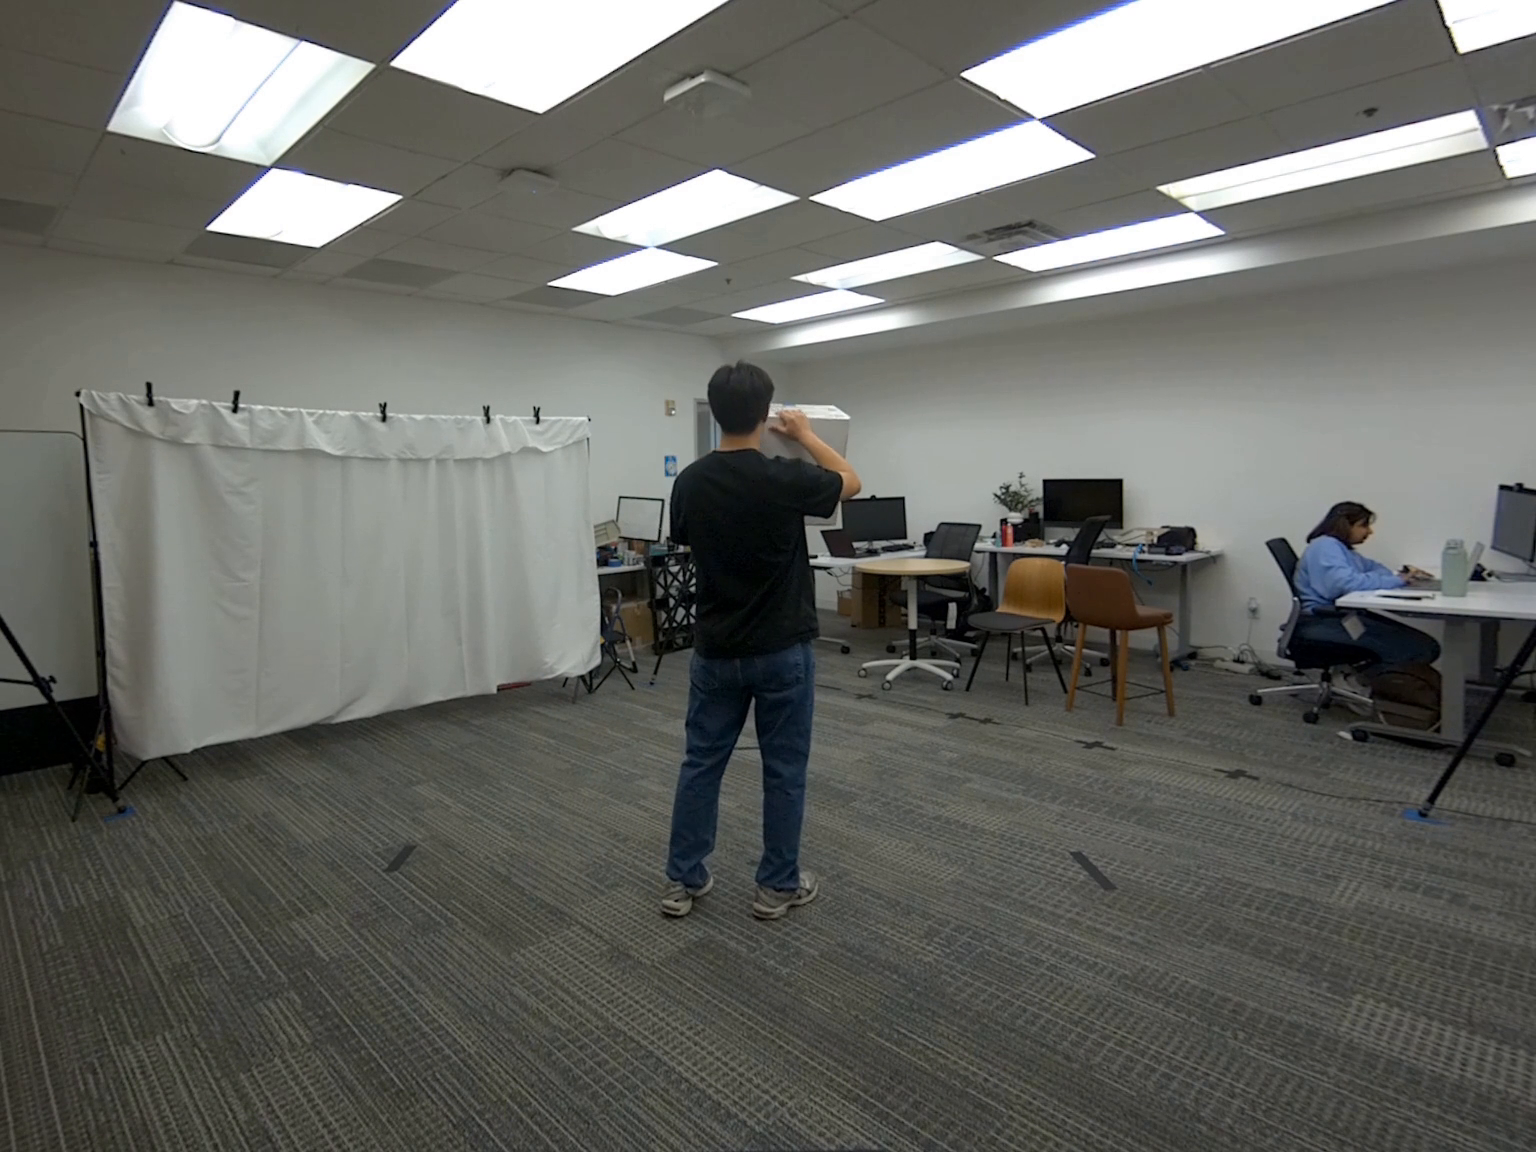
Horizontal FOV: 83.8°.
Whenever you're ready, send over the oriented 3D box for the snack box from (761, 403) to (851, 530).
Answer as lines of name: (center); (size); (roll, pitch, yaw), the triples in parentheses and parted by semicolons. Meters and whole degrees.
snack box: (0.086, -0.407, 3.118); (0.336, 0.398, 0.212); (0, 21, -13)
